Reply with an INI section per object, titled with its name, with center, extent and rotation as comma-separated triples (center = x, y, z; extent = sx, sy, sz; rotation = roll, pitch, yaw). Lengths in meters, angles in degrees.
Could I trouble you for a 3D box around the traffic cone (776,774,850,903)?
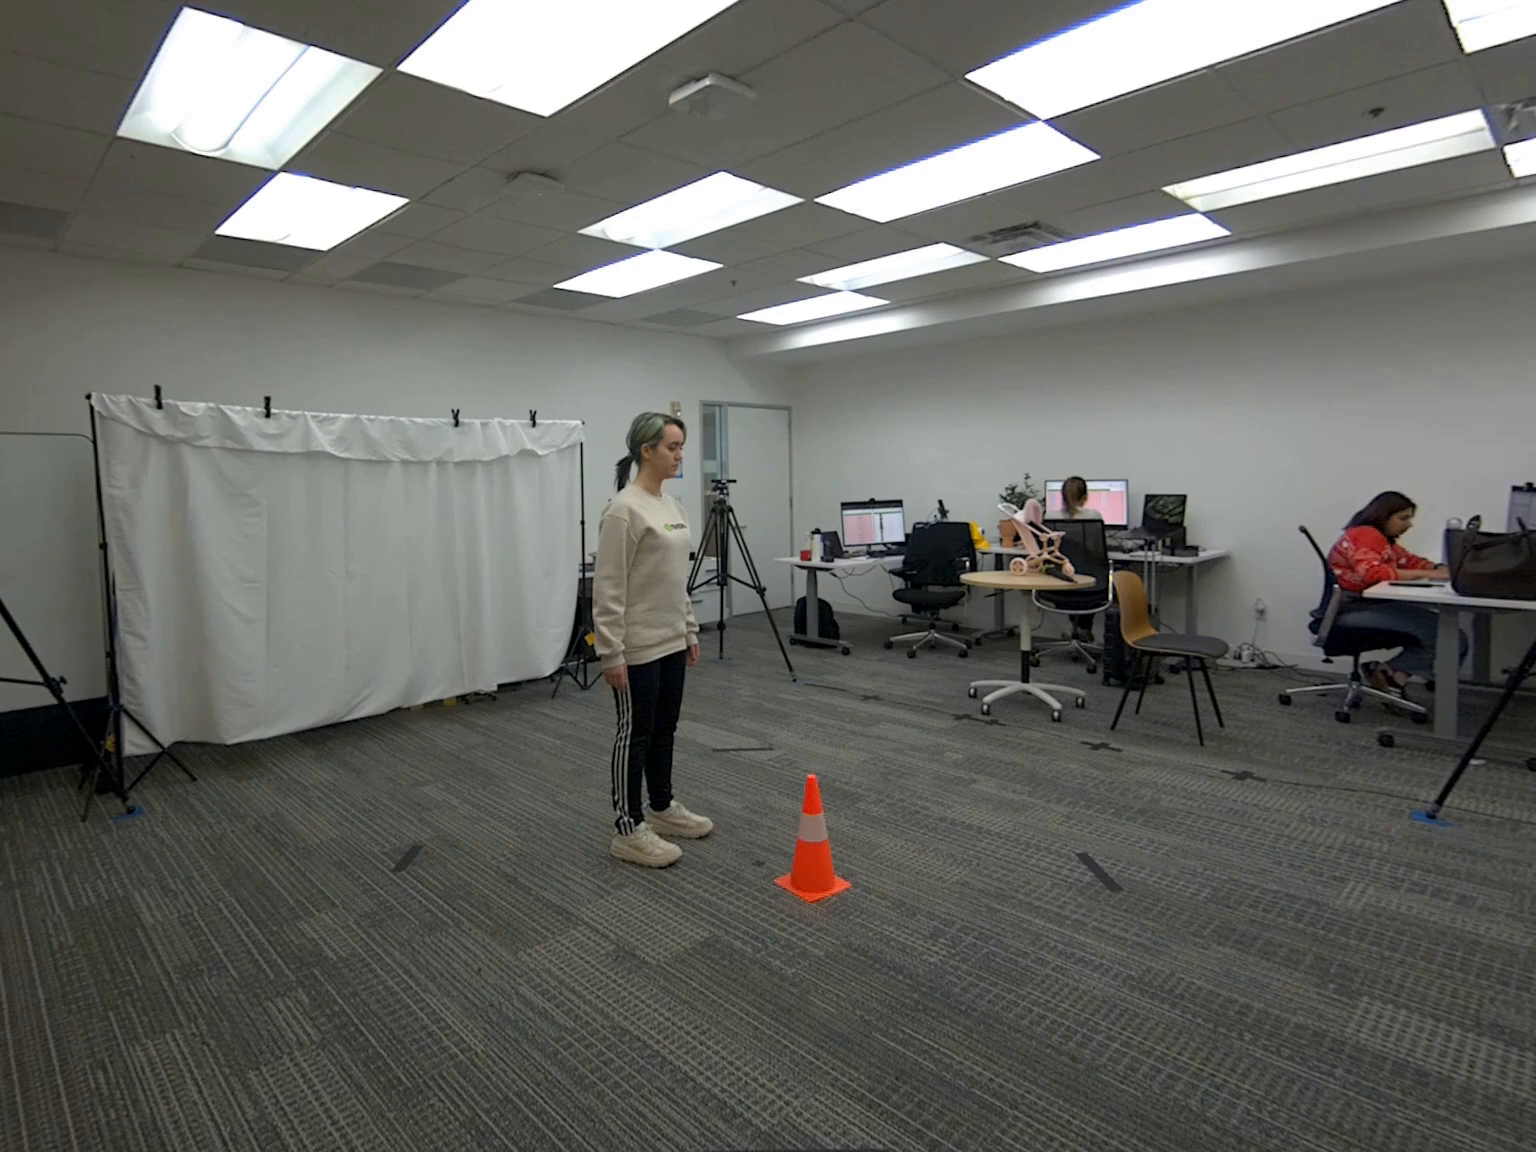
[traffic cone]
center = 0.150, 0.879, 2.939
extent = 0.200, 0.382, 0.209
rotation = -5, 5, -35
